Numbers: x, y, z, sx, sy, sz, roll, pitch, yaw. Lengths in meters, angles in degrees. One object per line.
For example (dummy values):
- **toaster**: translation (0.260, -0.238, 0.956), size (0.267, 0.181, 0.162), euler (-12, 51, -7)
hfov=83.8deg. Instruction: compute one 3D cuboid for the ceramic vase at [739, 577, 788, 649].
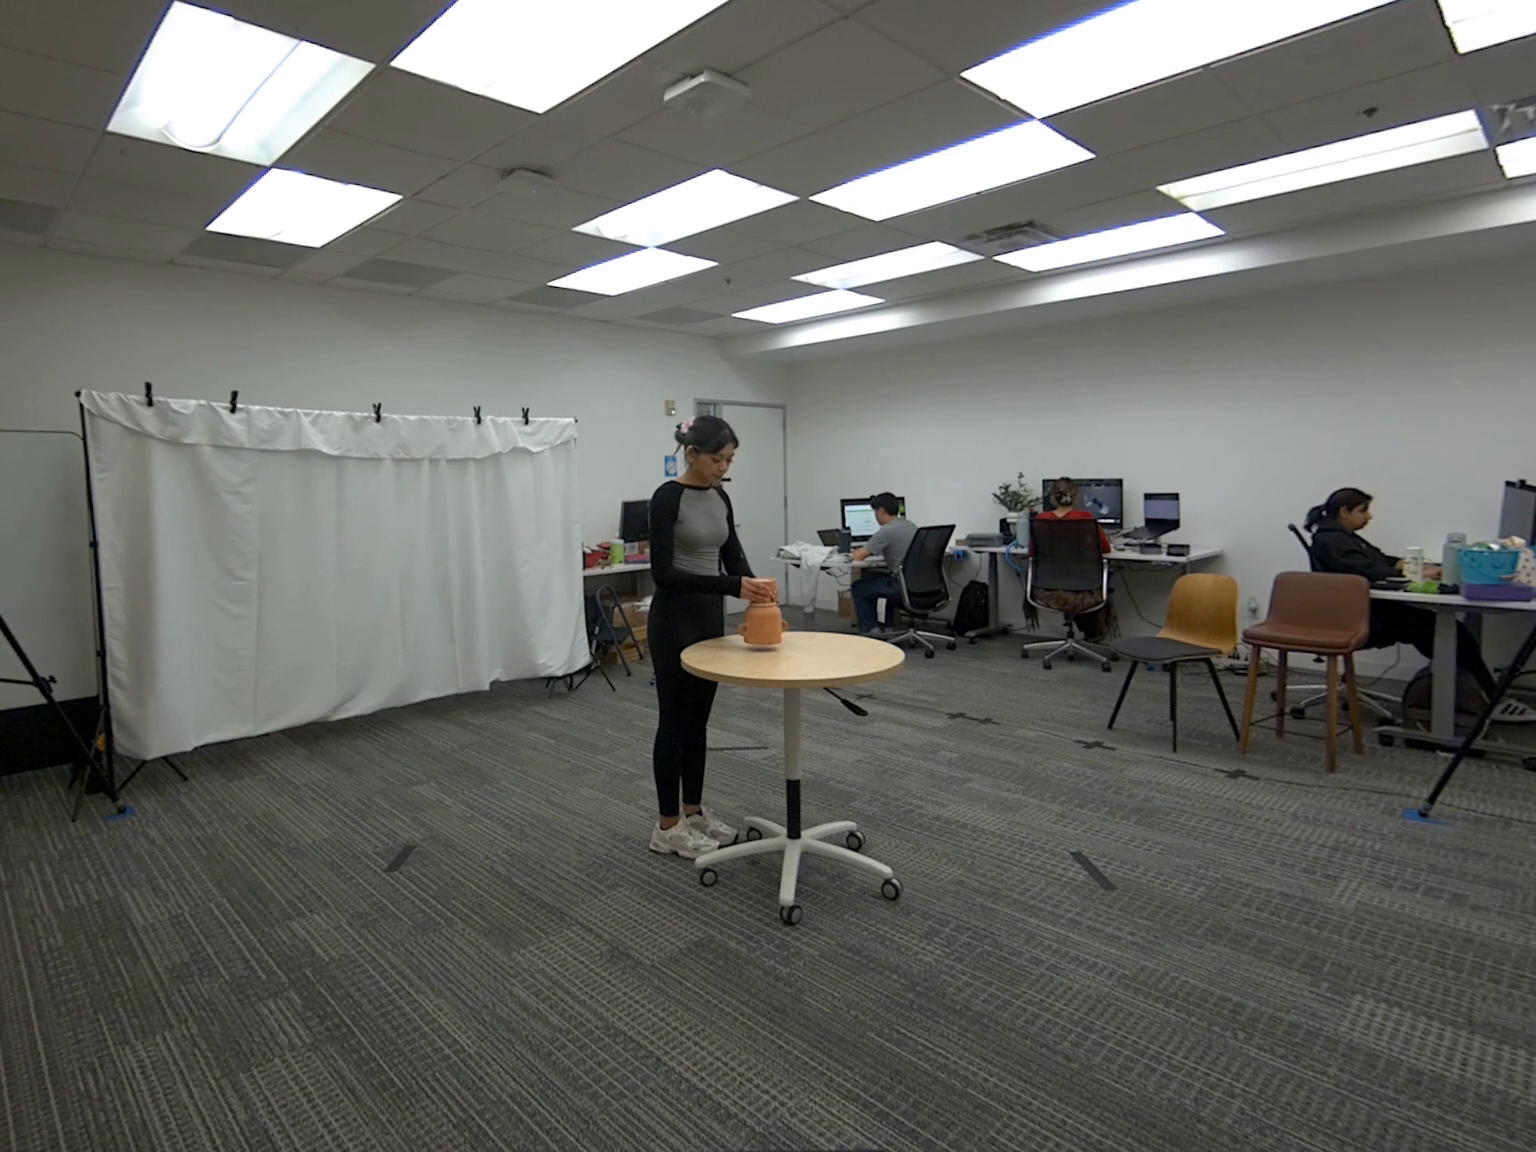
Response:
- **ceramic vase**: translation (-0.019, 0.122, 3.006), size (0.138, 0.219, 0.155), euler (2, 3, 25)
